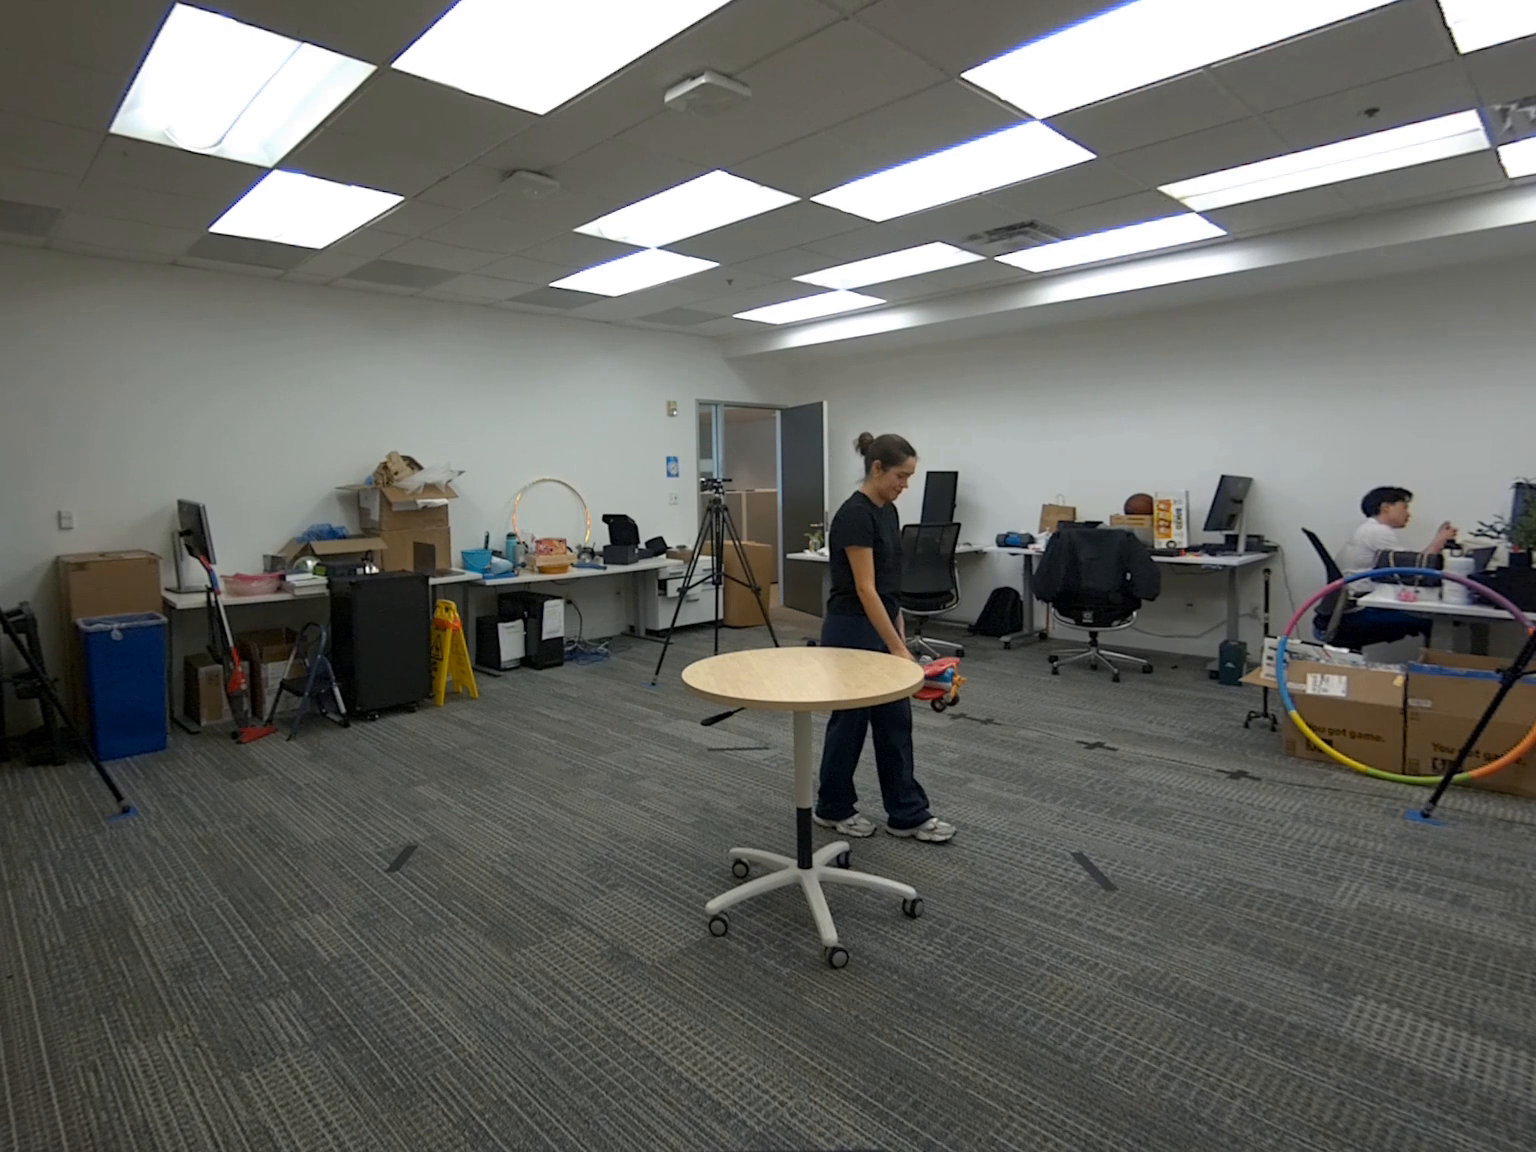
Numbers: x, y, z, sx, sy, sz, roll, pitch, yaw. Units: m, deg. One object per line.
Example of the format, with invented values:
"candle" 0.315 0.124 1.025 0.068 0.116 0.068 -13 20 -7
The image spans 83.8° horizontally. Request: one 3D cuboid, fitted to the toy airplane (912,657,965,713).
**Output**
"toy airplane" 0.547 0.371 3.024 0.264 0.154 0.250 10 18 15
